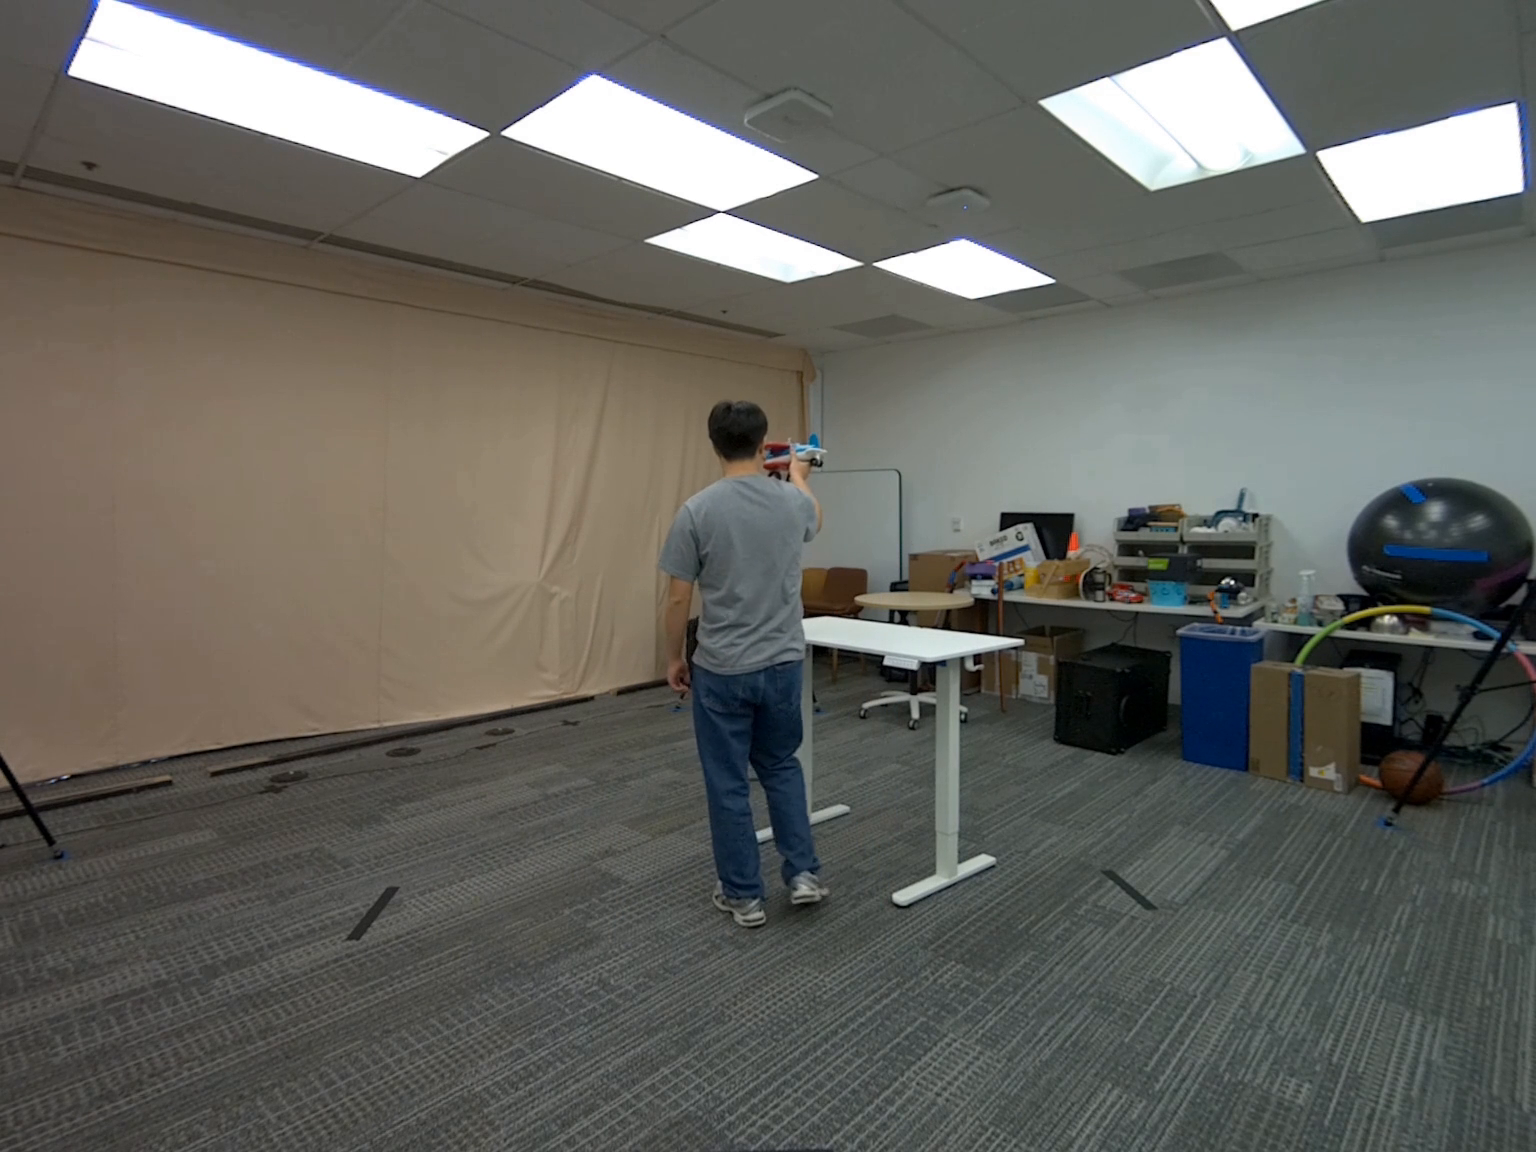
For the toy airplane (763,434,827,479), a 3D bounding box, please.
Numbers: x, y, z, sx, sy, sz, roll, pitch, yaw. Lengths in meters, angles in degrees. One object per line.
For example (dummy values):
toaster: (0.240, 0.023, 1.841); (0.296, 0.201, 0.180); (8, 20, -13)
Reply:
toy airplane: (0.123, -0.472, 3.402); (0.260, 0.158, 0.247); (-19, -12, 6)
